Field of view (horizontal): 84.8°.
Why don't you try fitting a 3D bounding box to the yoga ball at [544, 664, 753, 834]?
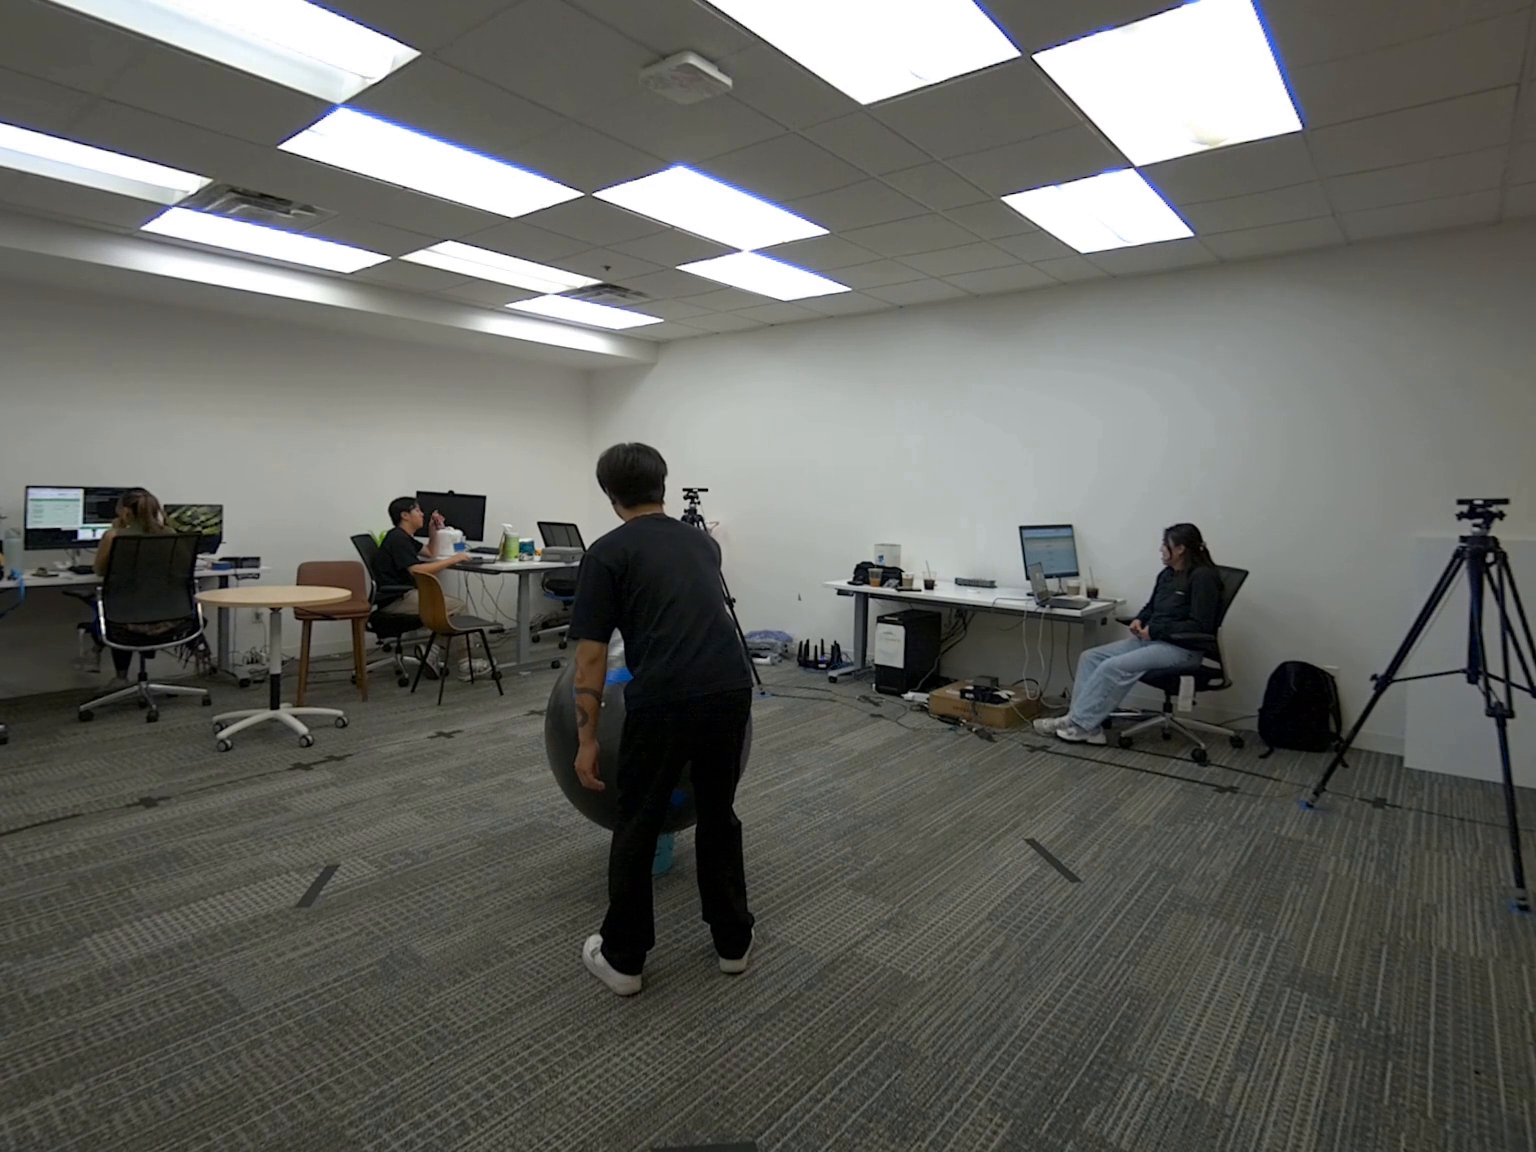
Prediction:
[{"bbox_3d":[-0.447,0.557,3.132,0.757,0.756,0.762,1,4,-2],"label":"yoga ball"}]
